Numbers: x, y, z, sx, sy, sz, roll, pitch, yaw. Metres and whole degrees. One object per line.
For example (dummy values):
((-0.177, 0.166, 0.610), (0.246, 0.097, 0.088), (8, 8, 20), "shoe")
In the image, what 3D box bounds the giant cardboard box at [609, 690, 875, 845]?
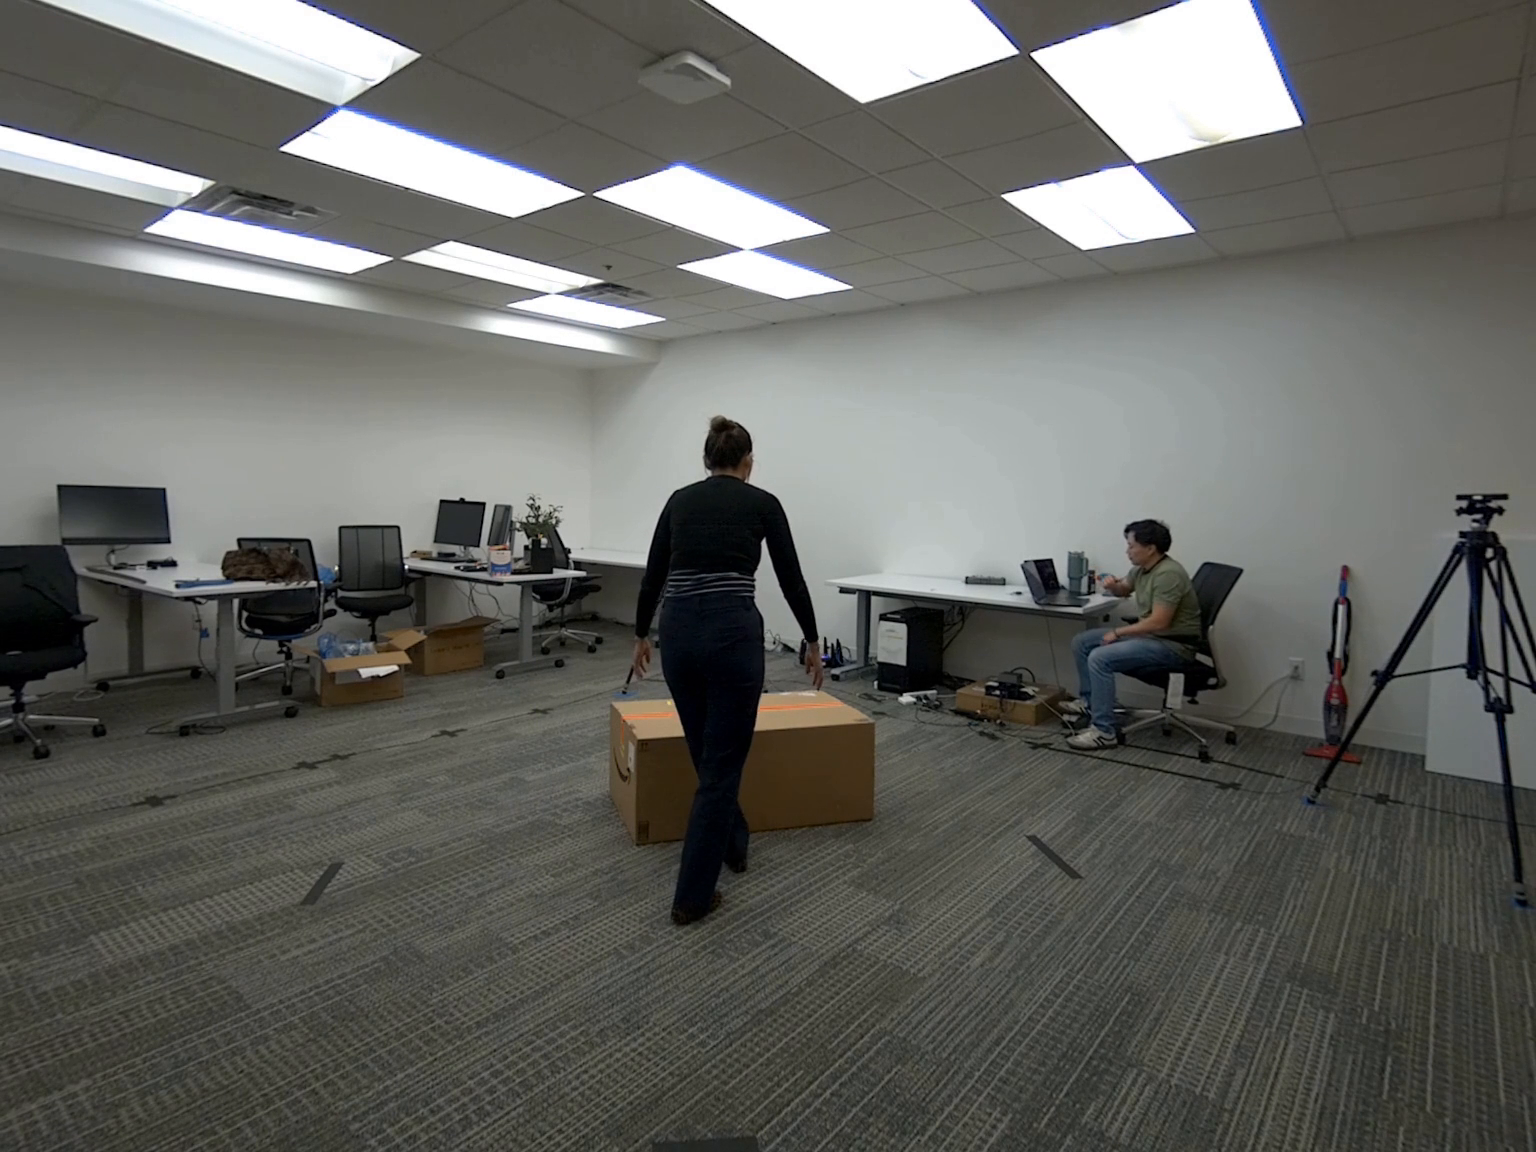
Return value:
((-0.141, 0.791, 3.700), (1.007, 0.425, 0.590), (-1, 4, -18), "giant cardboard box")
